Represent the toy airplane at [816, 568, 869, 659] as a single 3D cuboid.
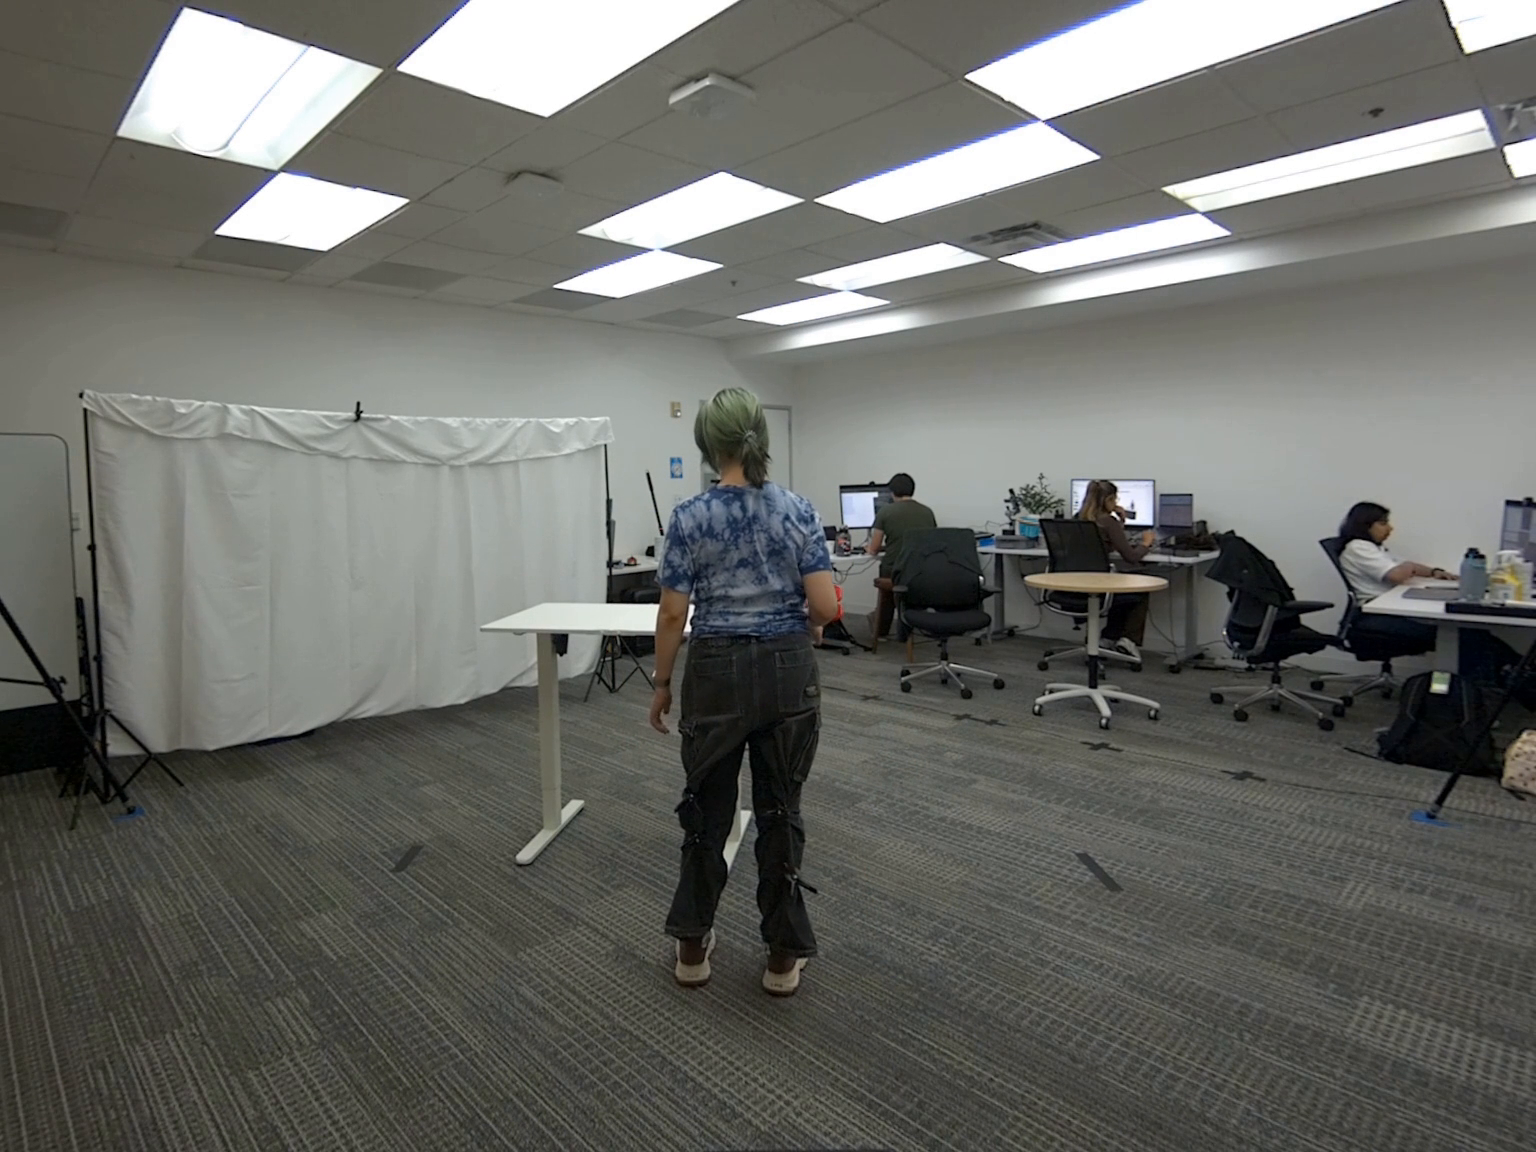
[{"bbox_3d":[0.138,0.117,2.691,0.248,0.152,0.268,-14,29,-14],"label":"toy airplane"}]
